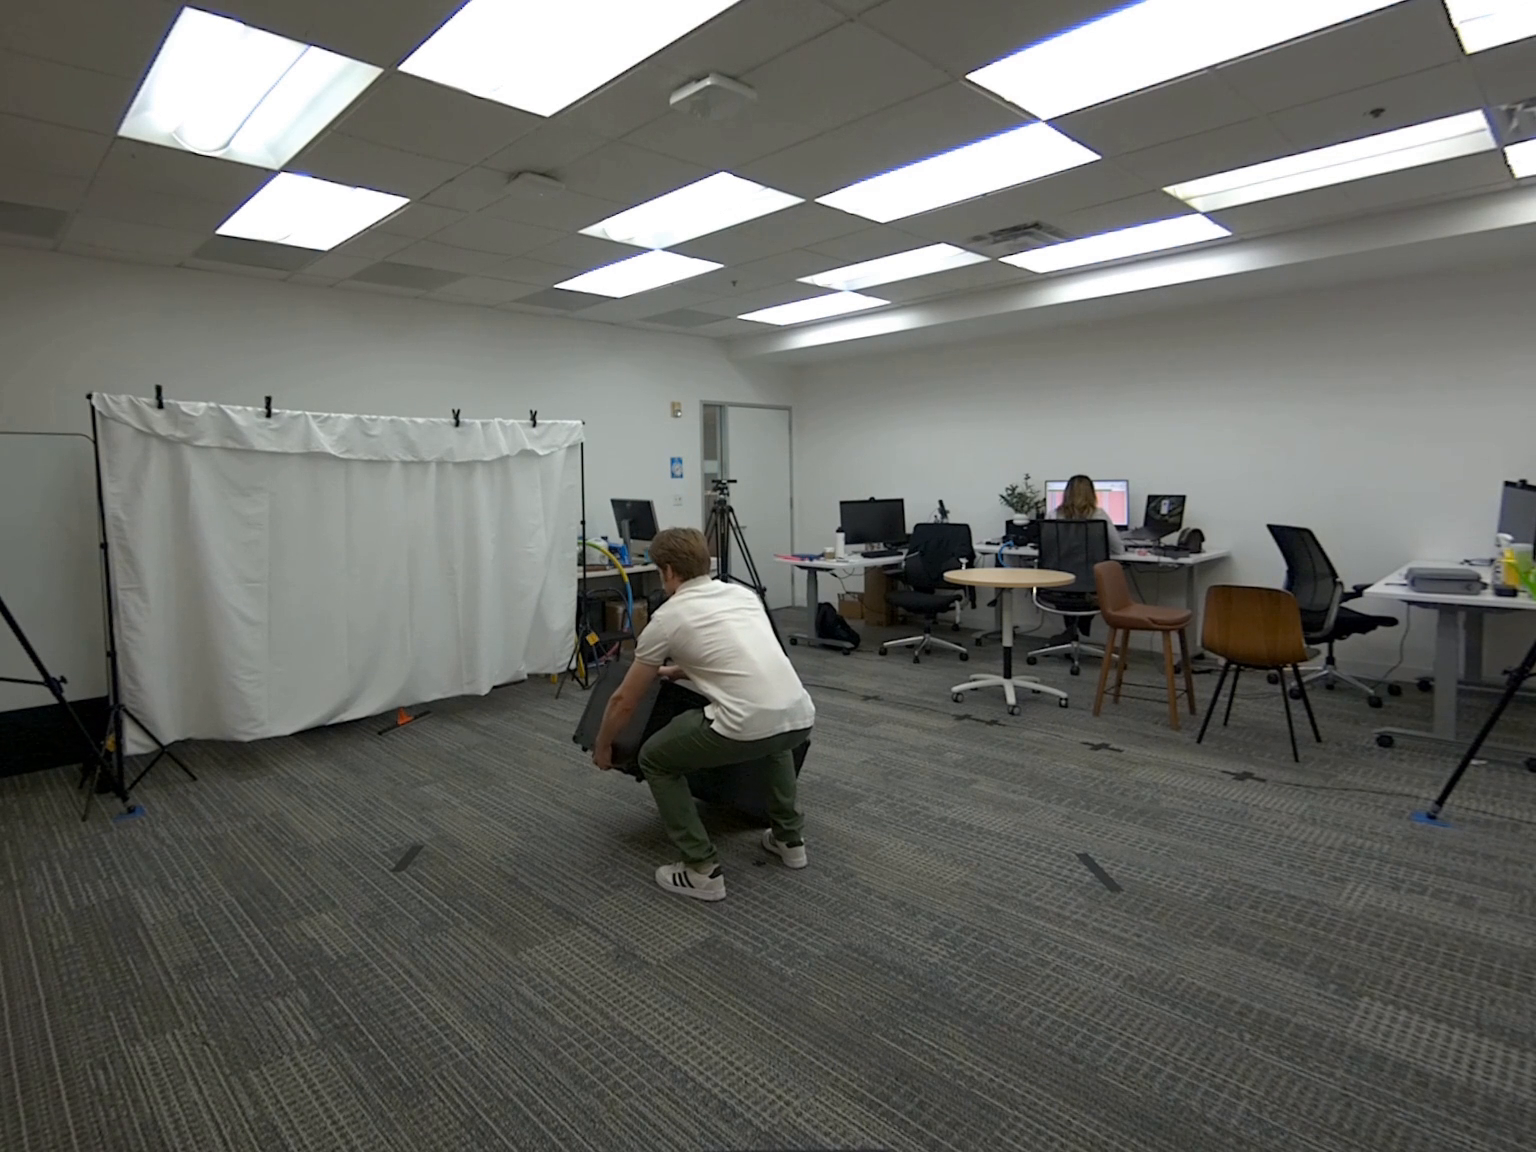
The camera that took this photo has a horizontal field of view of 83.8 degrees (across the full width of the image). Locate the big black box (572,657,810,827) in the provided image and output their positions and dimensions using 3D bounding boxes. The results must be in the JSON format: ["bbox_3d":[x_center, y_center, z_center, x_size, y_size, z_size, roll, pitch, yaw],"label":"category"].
[{"bbox_3d":[-0.279,0.687,3.501,0.839,0.387,0.538,28,-14,-31],"label":"big black box"}]
